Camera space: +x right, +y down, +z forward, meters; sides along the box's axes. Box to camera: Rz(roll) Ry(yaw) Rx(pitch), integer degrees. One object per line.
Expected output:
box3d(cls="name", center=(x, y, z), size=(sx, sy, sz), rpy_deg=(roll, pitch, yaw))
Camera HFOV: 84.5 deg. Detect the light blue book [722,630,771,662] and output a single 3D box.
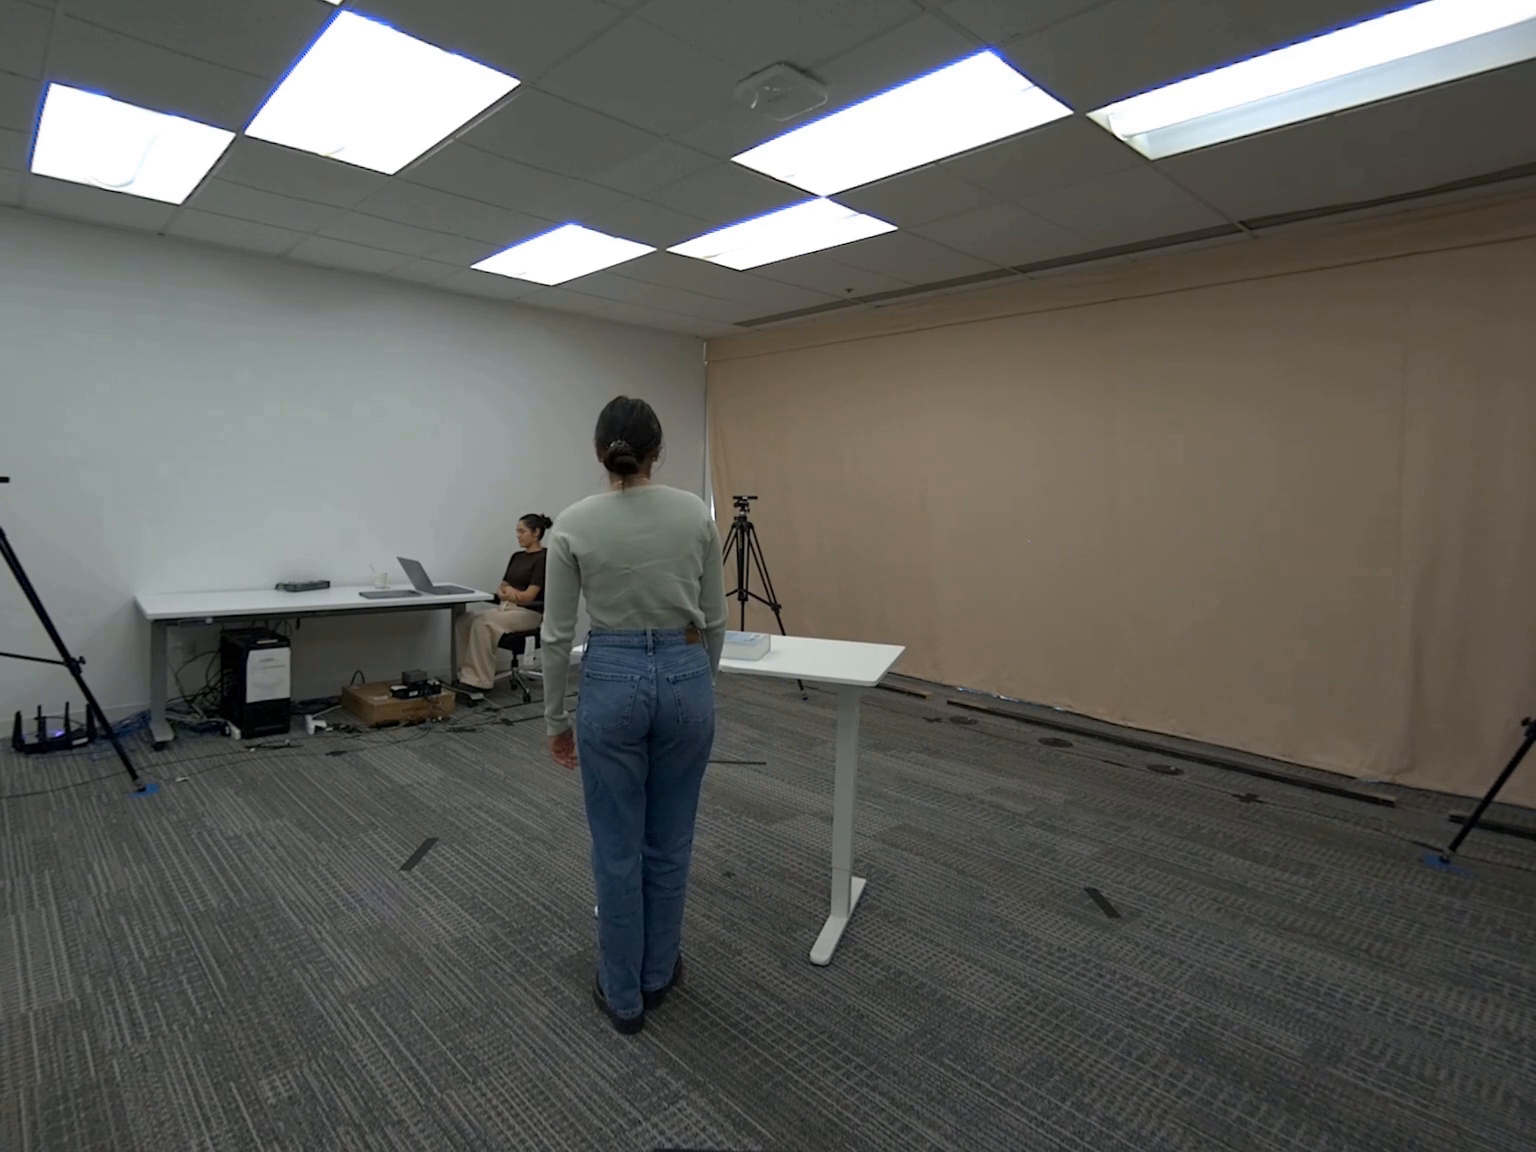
box3d(cls="light blue book", center=(-0.146, 0.227, 2.753), size=(0.264, 0.059, 0.190), rpy_deg=(3, 6, 15))
